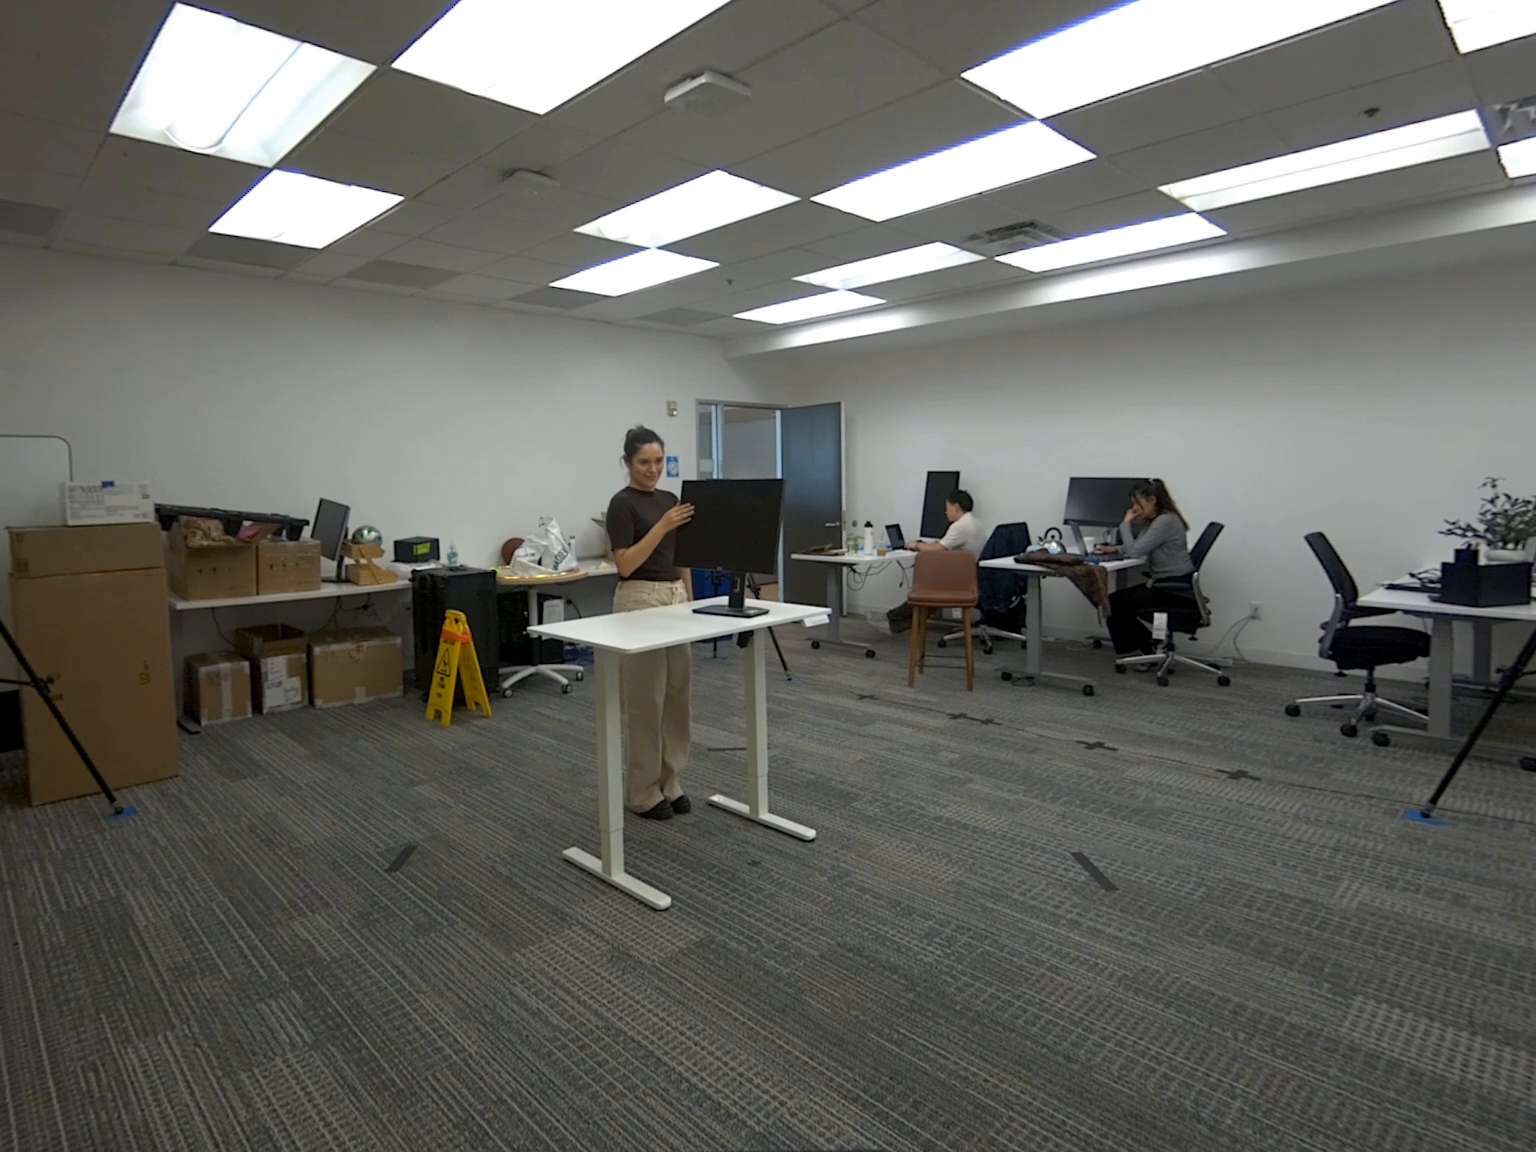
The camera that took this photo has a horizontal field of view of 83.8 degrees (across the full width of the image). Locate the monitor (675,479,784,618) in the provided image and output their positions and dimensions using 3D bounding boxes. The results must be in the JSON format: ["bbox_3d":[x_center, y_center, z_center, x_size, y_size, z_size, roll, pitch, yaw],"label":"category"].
[{"bbox_3d":[-0.140,-0.109,3.280,0.556,0.520,0.182,4,7,44],"label":"monitor"}]
